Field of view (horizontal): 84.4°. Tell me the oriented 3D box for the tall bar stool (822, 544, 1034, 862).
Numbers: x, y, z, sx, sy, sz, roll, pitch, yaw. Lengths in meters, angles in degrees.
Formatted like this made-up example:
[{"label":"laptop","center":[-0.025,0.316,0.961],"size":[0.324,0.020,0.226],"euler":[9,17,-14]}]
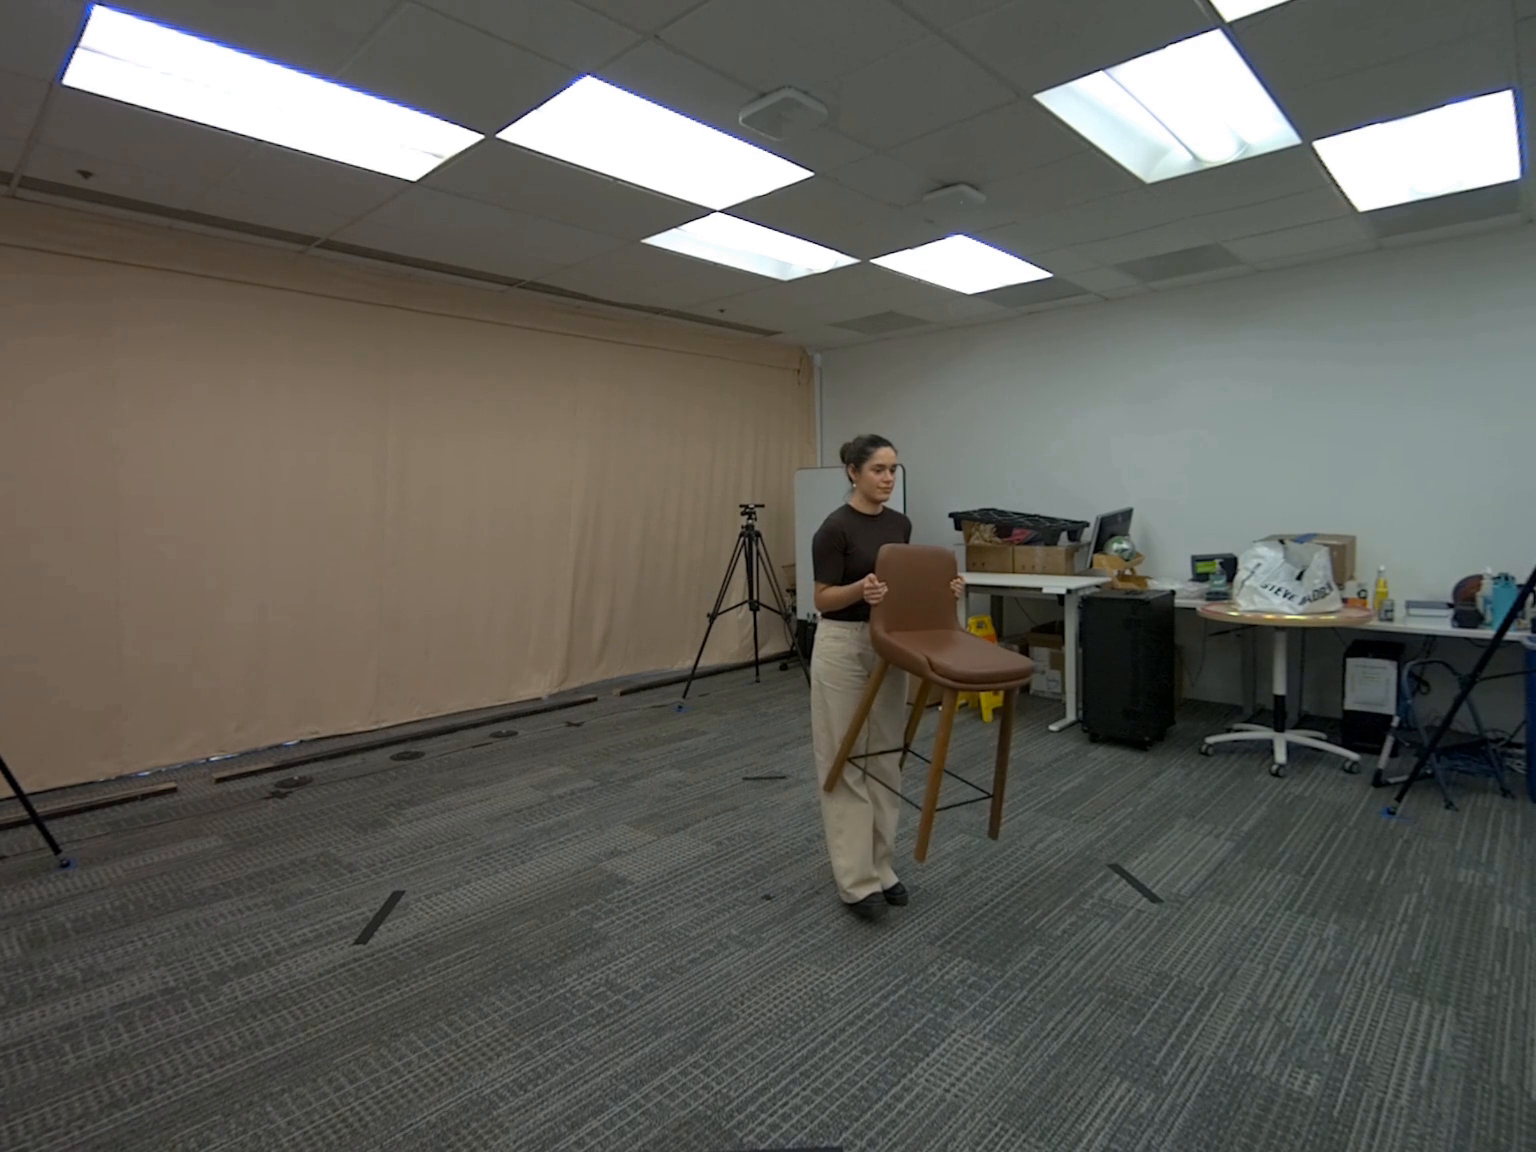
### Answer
[{"label":"tall bar stool","center":[0.558,0.388,2.742],"size":[0.442,0.886,0.485],"euler":[3,12,-39]}]
